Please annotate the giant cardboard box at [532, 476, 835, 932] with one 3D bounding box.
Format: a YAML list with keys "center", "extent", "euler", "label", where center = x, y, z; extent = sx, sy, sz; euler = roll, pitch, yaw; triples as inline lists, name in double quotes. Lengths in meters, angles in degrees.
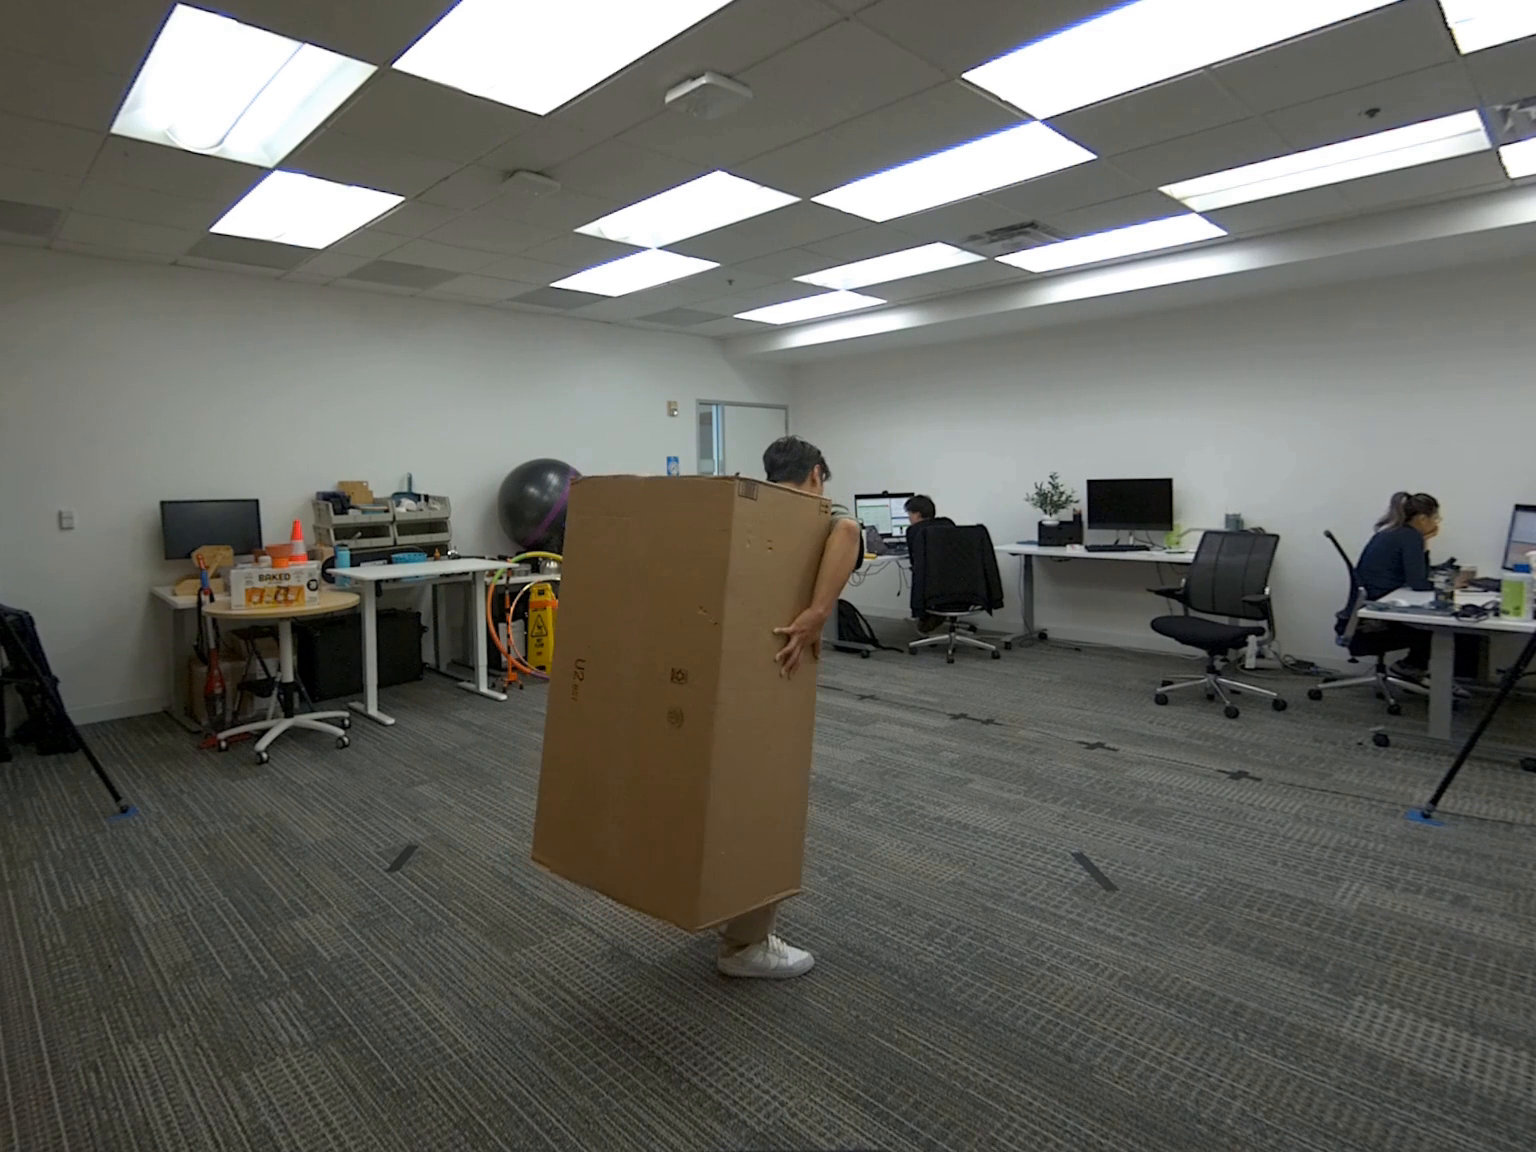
- center: [-0.227, 0.277, 2.239]
  extent: [0.594, 1.029, 0.413]
  euler: [2, -4, 37]
  label: "giant cardboard box"
